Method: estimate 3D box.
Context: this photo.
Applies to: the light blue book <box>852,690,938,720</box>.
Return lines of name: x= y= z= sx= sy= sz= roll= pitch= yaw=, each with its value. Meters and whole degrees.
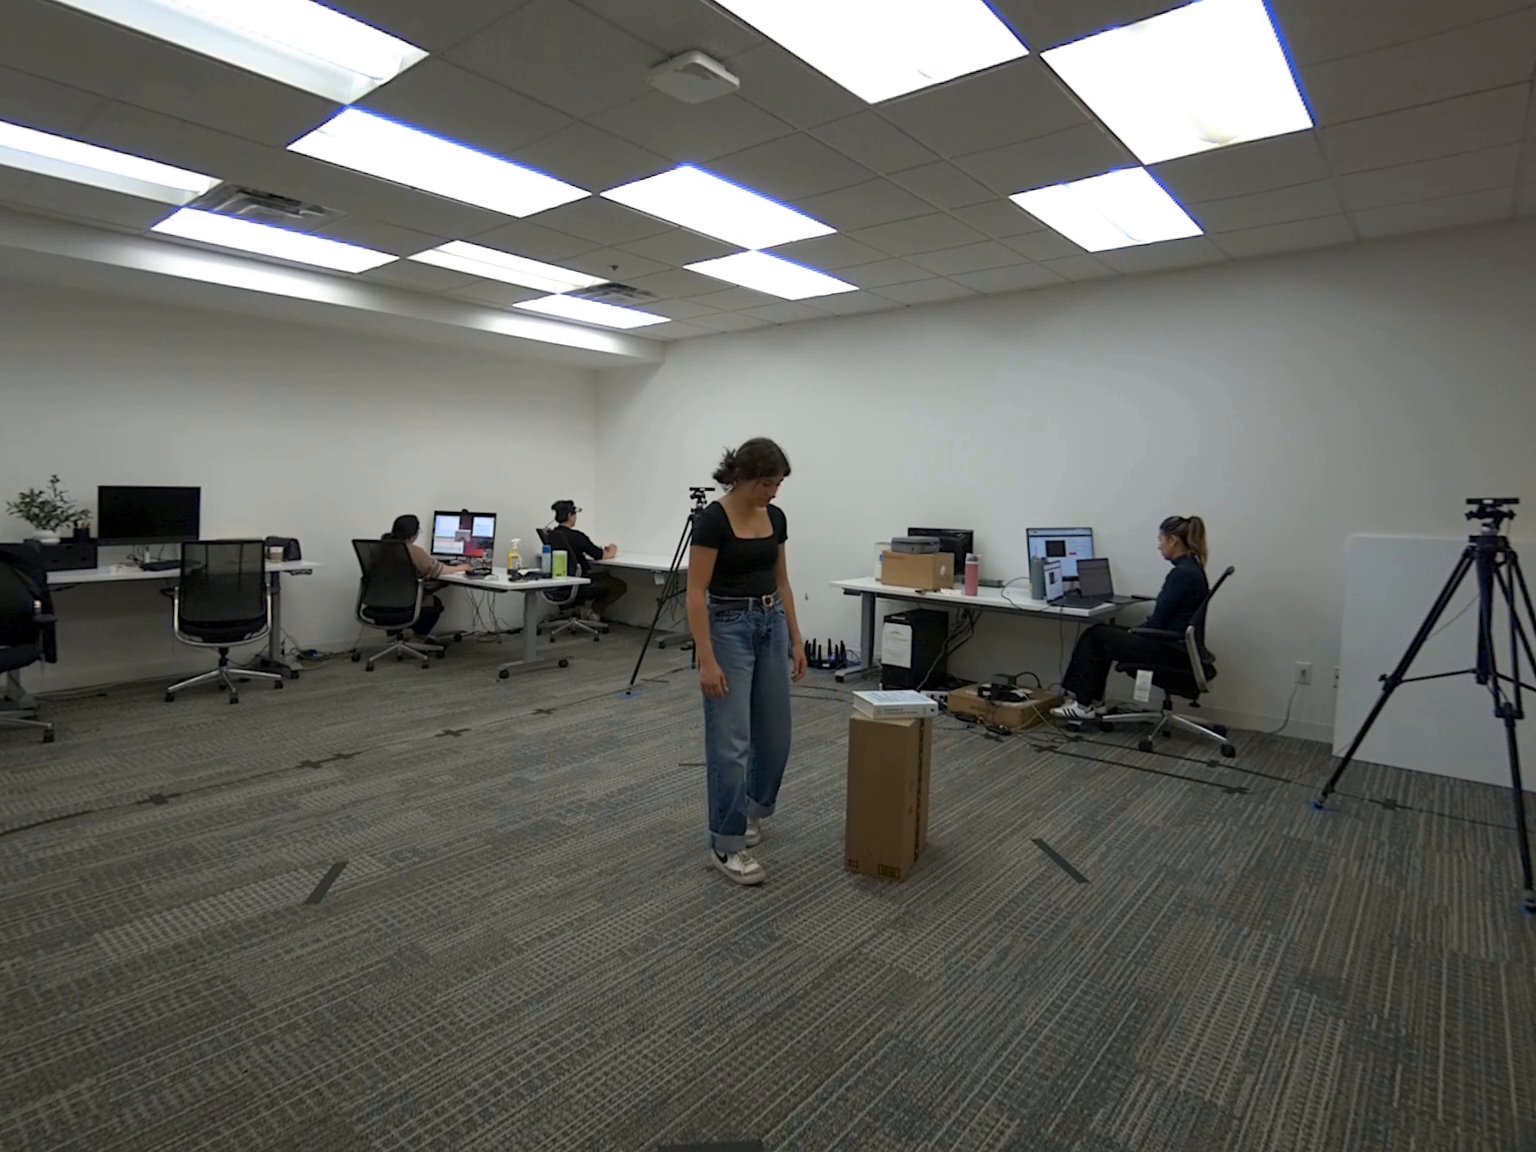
light blue book: x=0.468 y=0.484 z=3.190 sx=0.256 sy=0.059 sz=0.195 roll=1 pitch=6 yaw=-17
